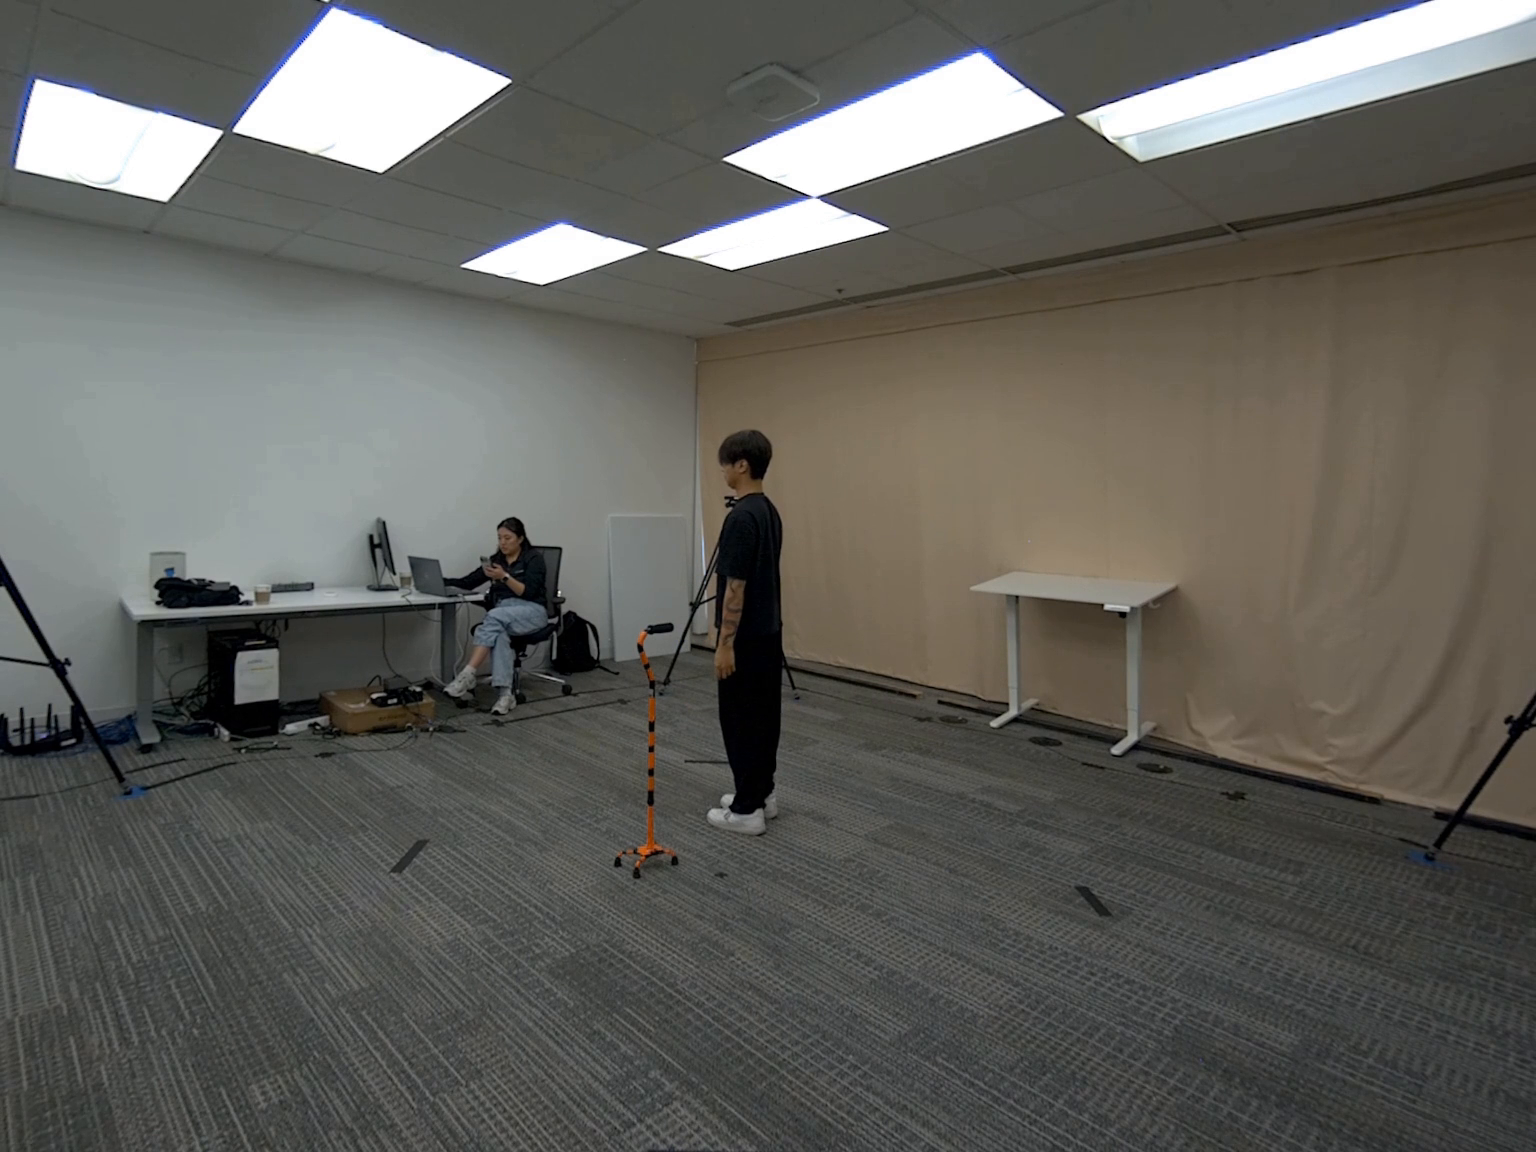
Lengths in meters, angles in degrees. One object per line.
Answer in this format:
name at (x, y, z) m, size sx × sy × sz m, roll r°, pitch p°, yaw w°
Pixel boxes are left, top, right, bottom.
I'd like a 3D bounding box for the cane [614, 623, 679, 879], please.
cane at (-0.454, 0.641, 3.148) m, size 0.202 × 0.905 × 0.155 m, roll -2°, pitch 5°, yaw -43°
